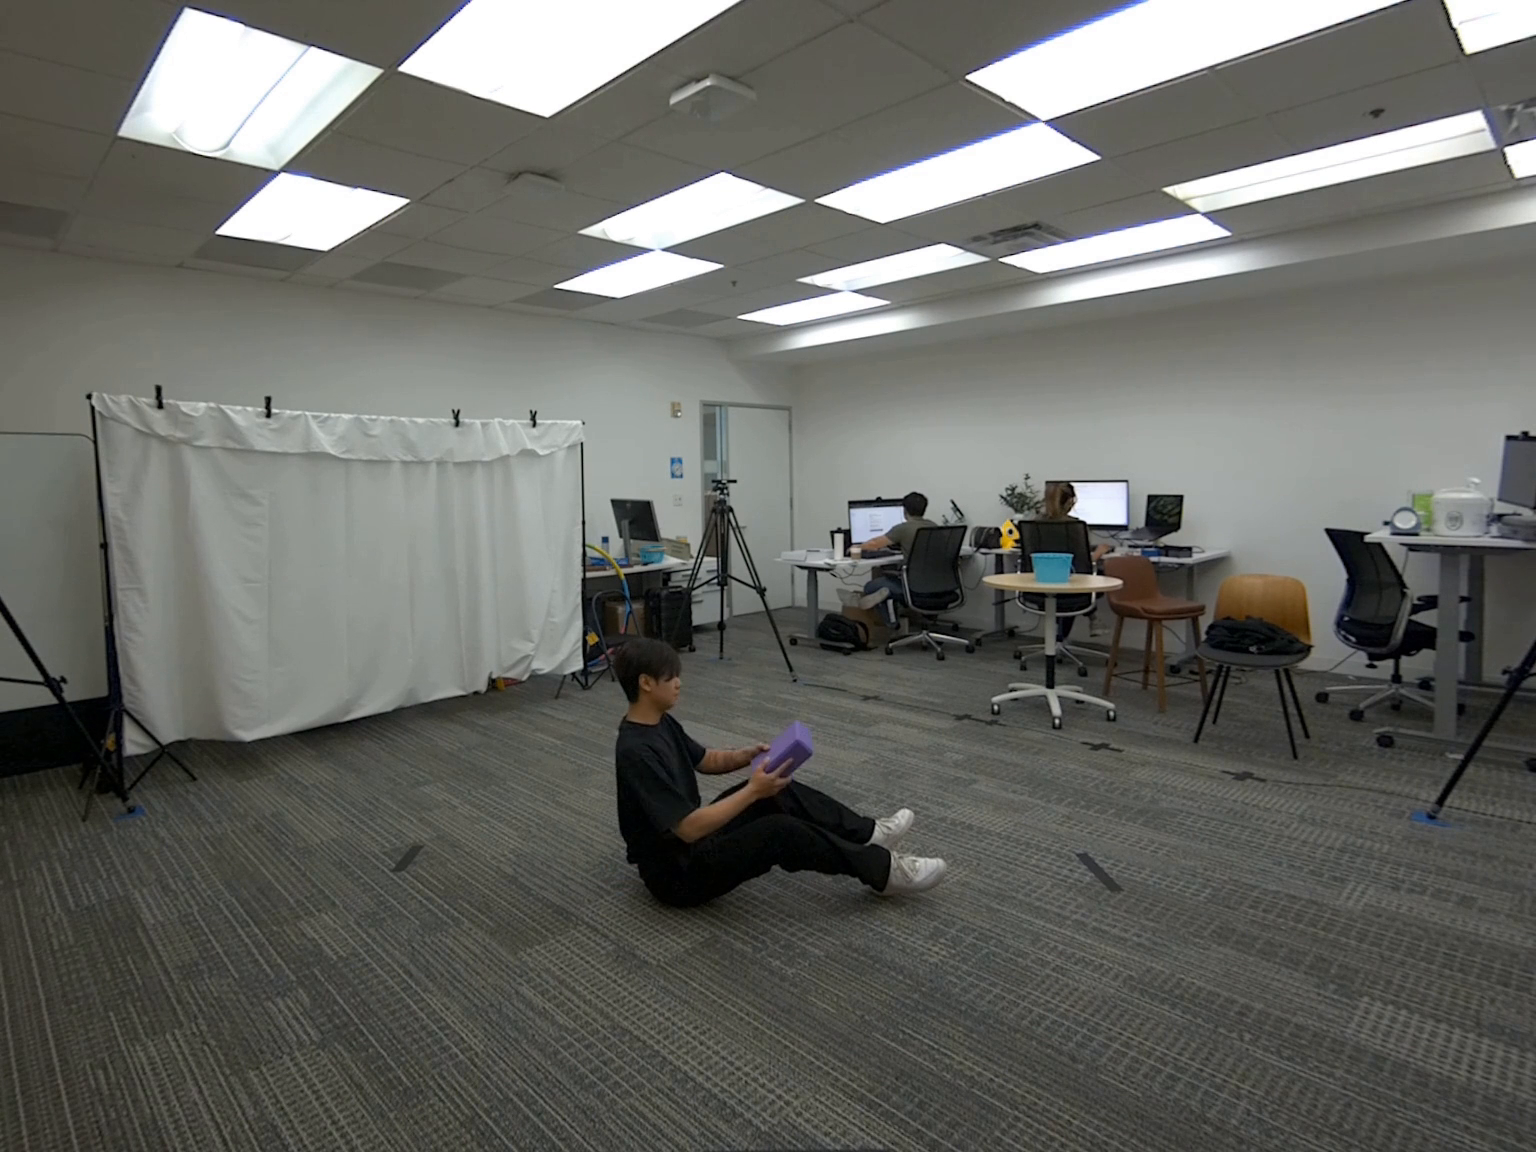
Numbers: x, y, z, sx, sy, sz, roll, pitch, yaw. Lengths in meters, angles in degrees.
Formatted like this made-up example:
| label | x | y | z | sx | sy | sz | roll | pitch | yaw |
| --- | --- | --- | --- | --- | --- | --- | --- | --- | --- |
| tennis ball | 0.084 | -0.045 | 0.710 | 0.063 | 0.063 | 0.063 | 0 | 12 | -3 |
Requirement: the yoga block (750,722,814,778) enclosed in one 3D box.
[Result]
| label | x | y | z | sx | sy | sz | roll | pitch | yaw |
| --- | --- | --- | --- | --- | --- | --- | --- | --- | --- |
| yoga block | 0.034 | 0.606 | 2.833 | 0.229 | 0.075 | 0.151 | -42 | 11 | 10 |
